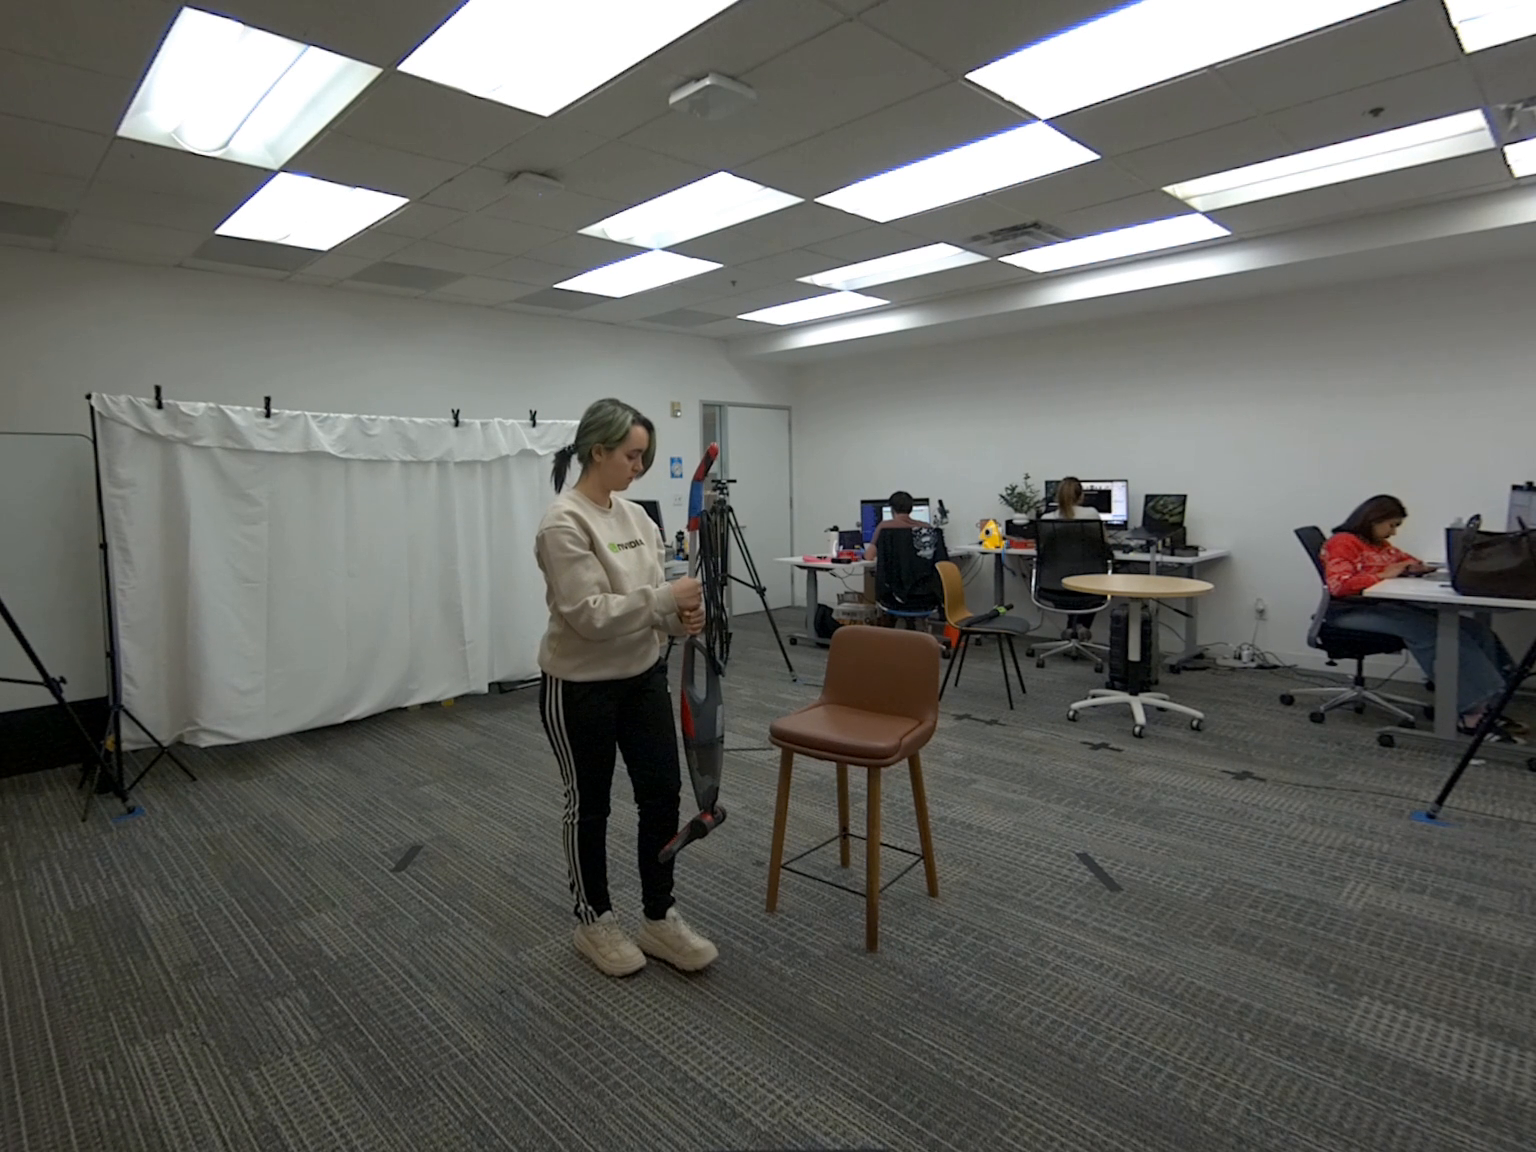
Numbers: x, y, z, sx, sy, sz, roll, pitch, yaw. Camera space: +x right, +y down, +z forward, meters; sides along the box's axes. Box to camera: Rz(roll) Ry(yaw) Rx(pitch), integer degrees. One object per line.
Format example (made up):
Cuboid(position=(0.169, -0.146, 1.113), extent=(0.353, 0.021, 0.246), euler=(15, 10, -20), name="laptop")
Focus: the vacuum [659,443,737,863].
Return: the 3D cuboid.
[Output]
Cuboid(position=(-0.165, 0.182, 2.296), extent=(0.148, 1.045, 0.246), euler=(6, 5, 35), name="vacuum")
